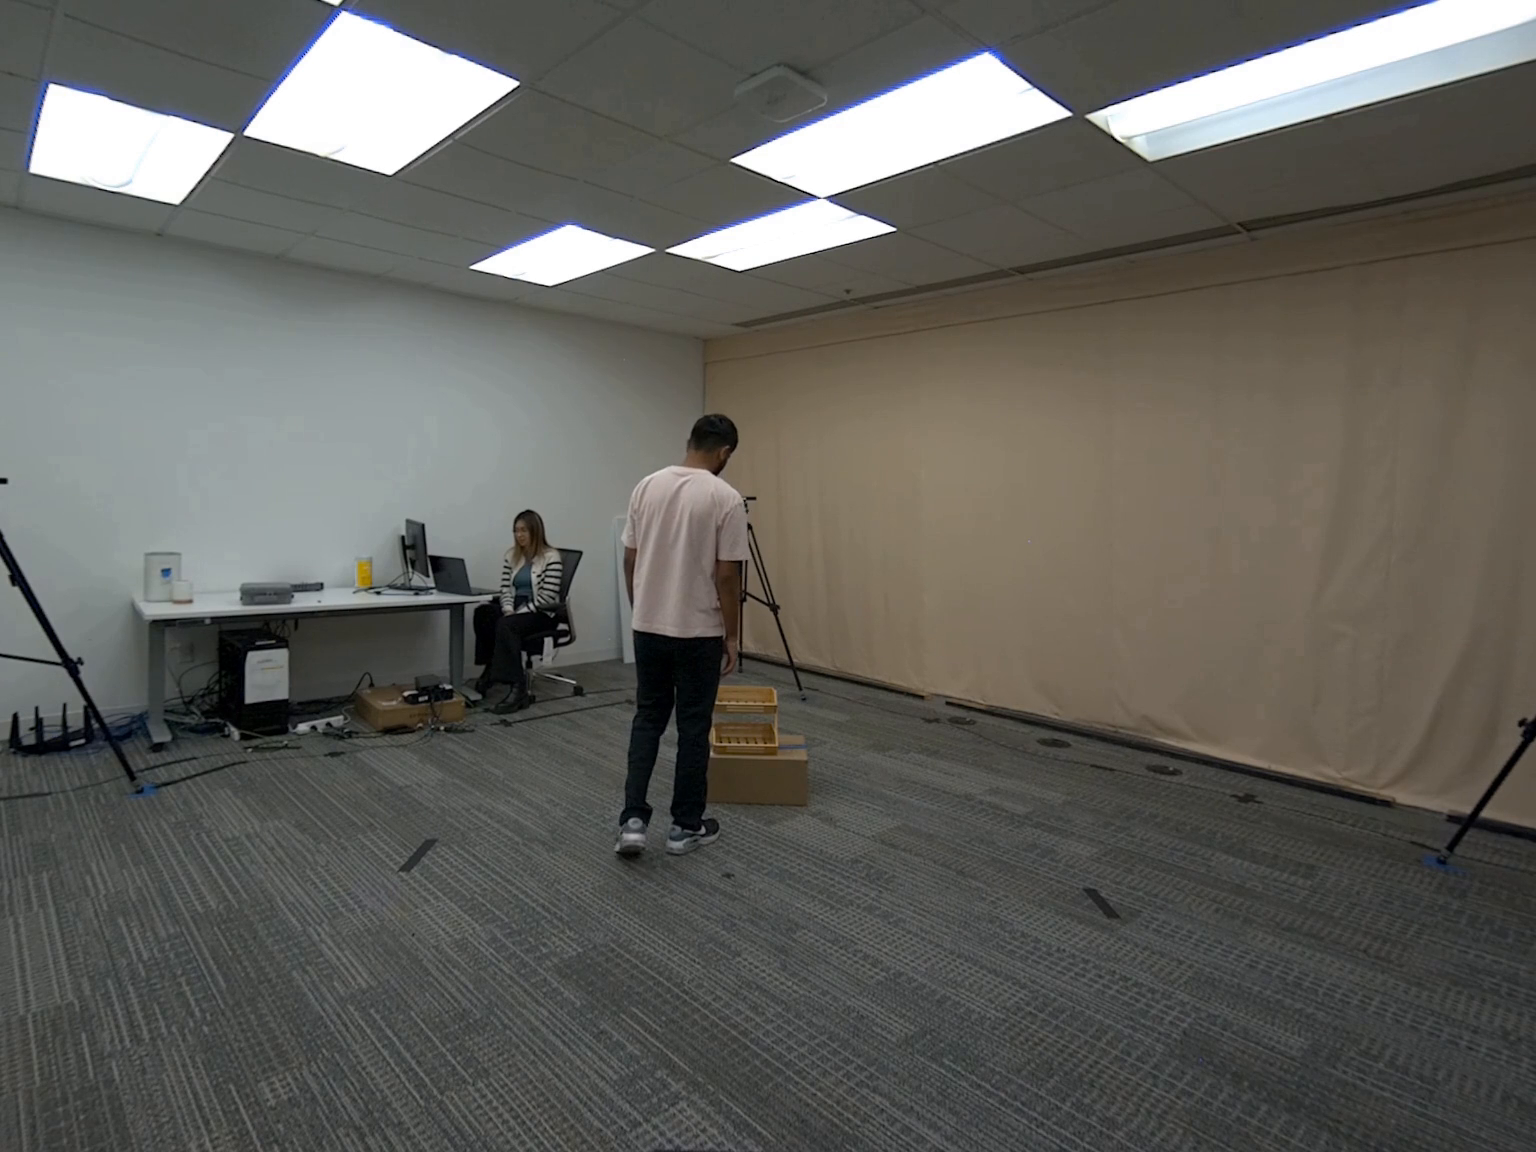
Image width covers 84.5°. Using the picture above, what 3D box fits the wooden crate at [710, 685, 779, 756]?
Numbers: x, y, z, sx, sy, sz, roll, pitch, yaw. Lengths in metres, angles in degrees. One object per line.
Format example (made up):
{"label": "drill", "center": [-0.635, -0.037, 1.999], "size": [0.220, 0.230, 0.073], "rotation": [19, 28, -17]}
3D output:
{"label": "wooden crate", "center": [-0.124, 0.684, 4.033], "size": [0.323, 0.273, 0.304], "rotation": [2, 2, -6]}
